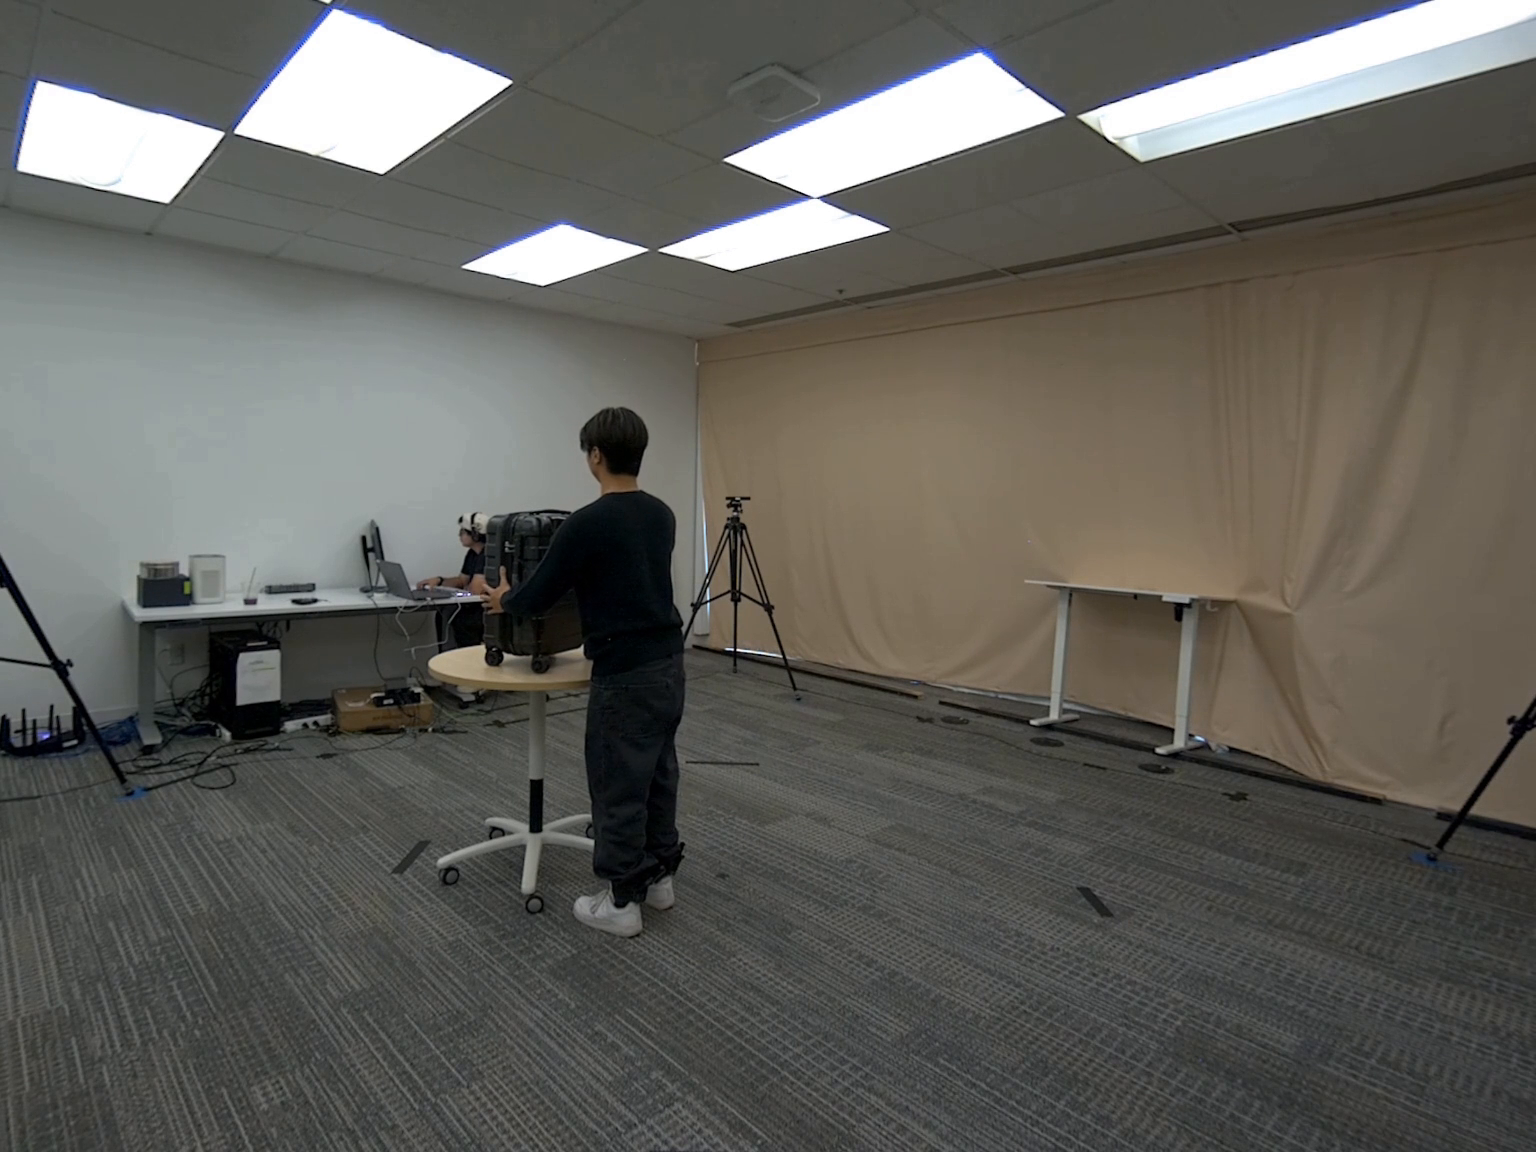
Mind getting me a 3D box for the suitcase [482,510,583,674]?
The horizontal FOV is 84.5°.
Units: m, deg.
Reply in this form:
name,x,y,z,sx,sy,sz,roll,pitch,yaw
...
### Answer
name,x,y,z,sx,sy,sz,roll,pitch,yaw
suitcase,-0.833,0.036,3.047,0.253,0.548,0.369,3,4,28
